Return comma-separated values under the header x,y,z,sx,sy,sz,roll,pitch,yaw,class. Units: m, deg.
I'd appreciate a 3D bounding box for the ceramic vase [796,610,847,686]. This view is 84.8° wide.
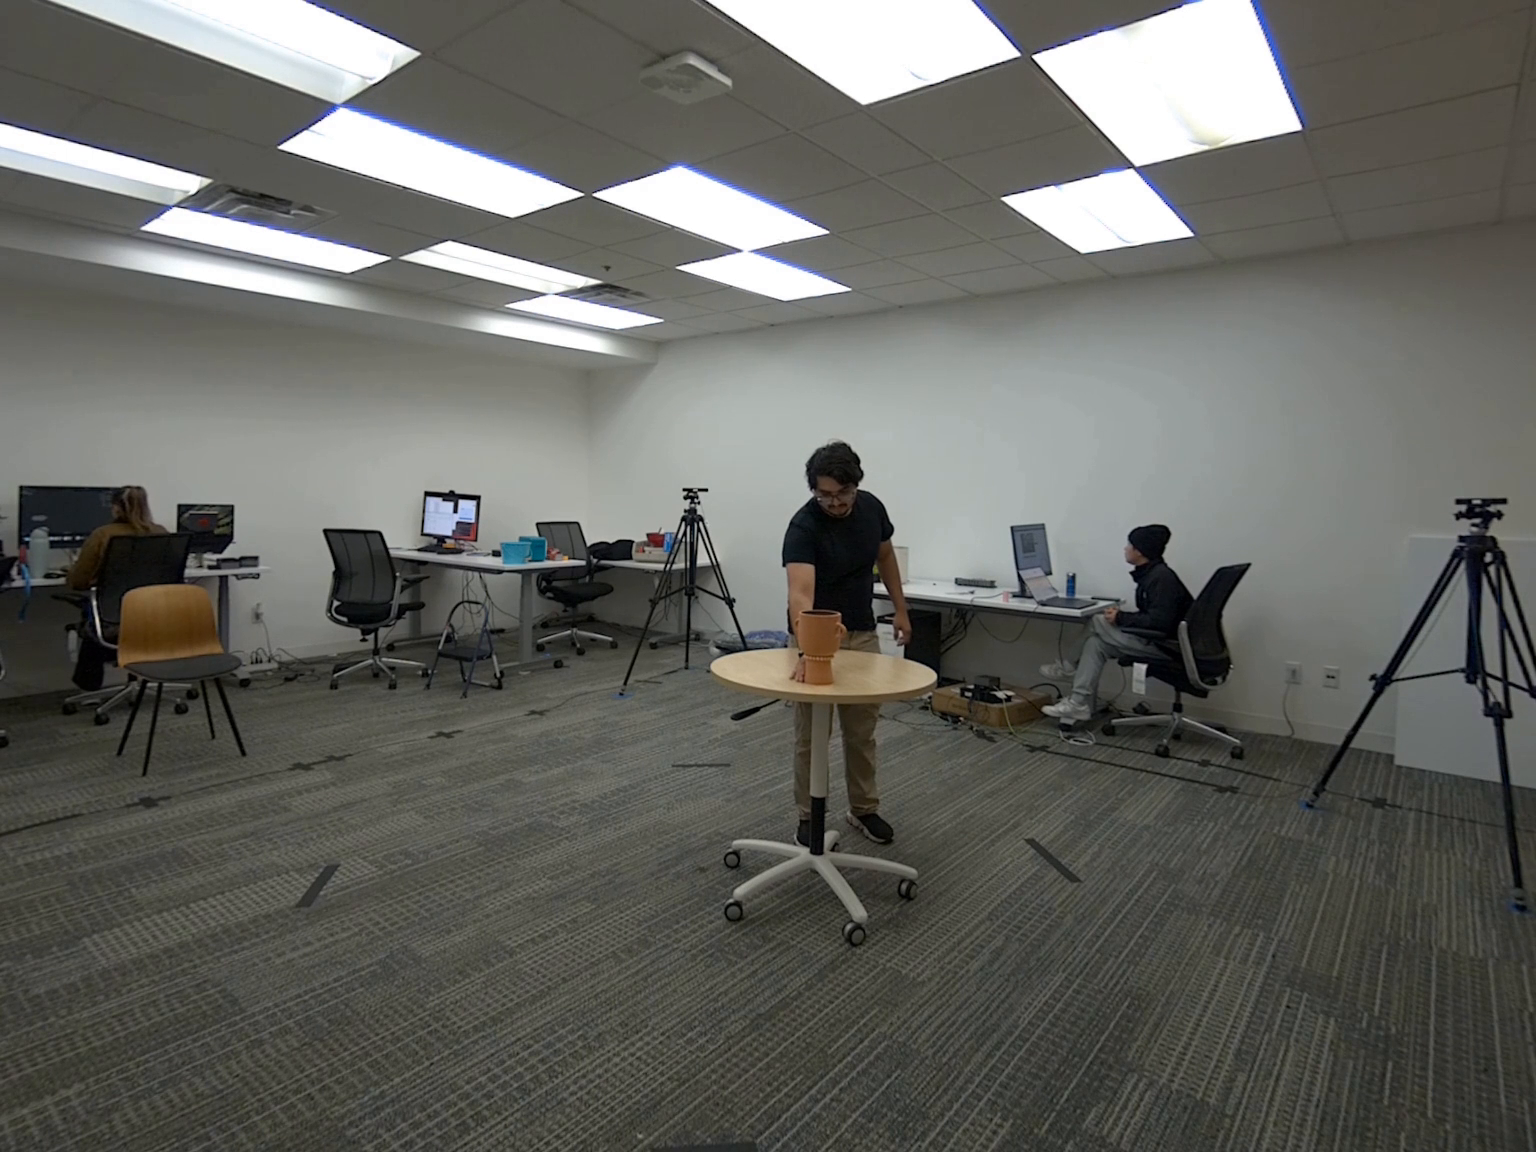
x,y,z,sx,sy,sz,roll,pitch,yaw,class
0.152,0.225,2.706,0.133,0.219,0.161,2,4,-12,ceramic vase
